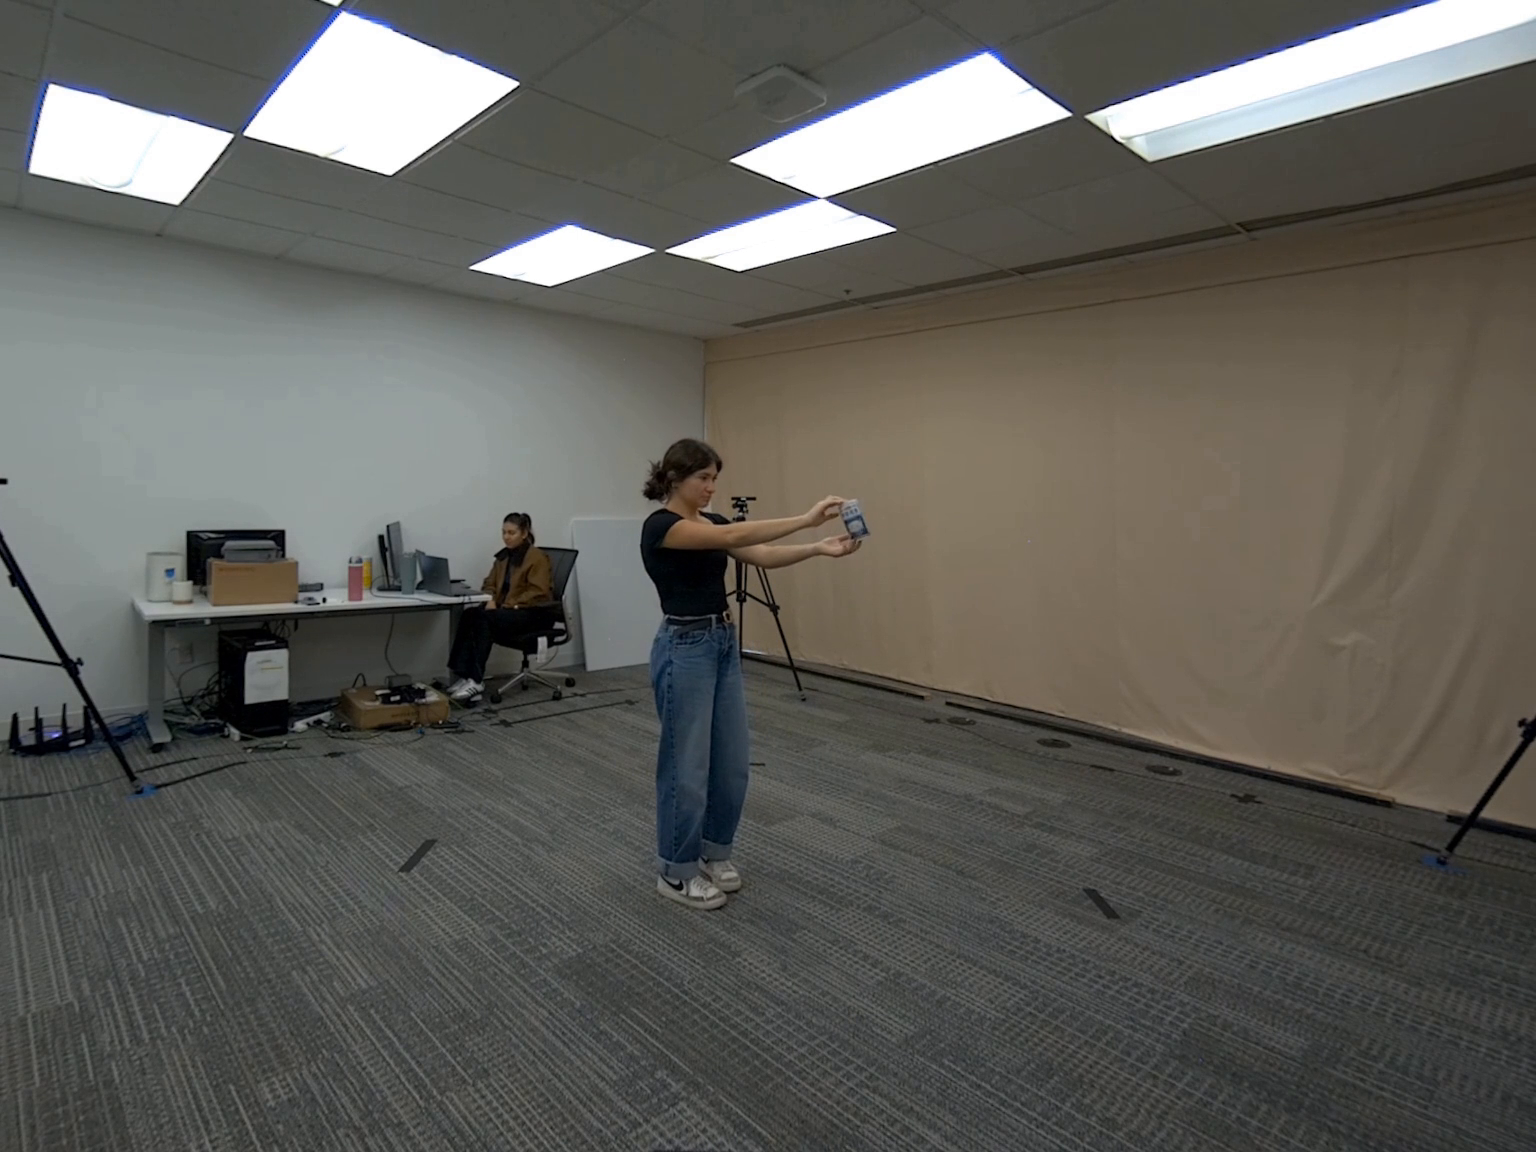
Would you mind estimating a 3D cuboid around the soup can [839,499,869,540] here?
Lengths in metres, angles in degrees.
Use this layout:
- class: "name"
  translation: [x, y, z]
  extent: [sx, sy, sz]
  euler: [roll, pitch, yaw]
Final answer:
- class: "soup can"
  translation: [0.264, -0.178, 2.642]
  extent: [0.067, 0.121, 0.067]
  euler: [-19, 0, -1]
